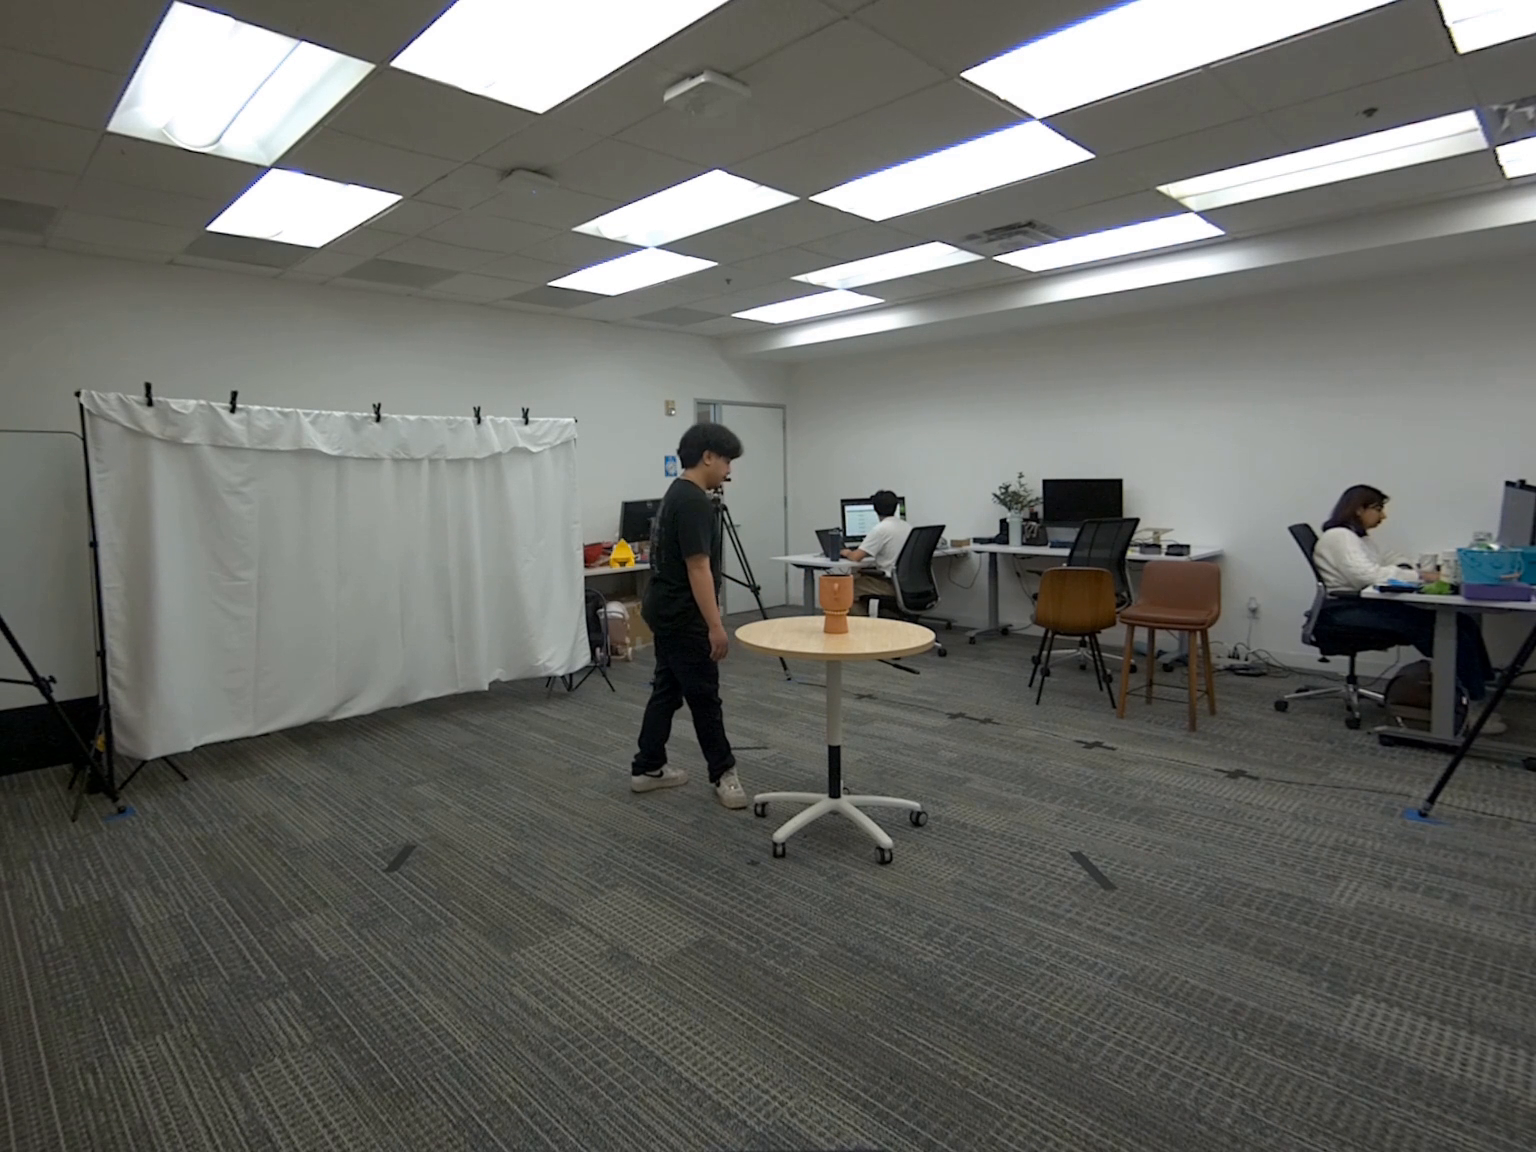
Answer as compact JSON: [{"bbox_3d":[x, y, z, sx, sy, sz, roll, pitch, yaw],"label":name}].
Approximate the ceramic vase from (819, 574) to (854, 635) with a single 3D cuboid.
[{"bbox_3d":[0.270,0.108,3.326,0.139,0.219,0.155,4,7,45],"label":"ceramic vase"}]
